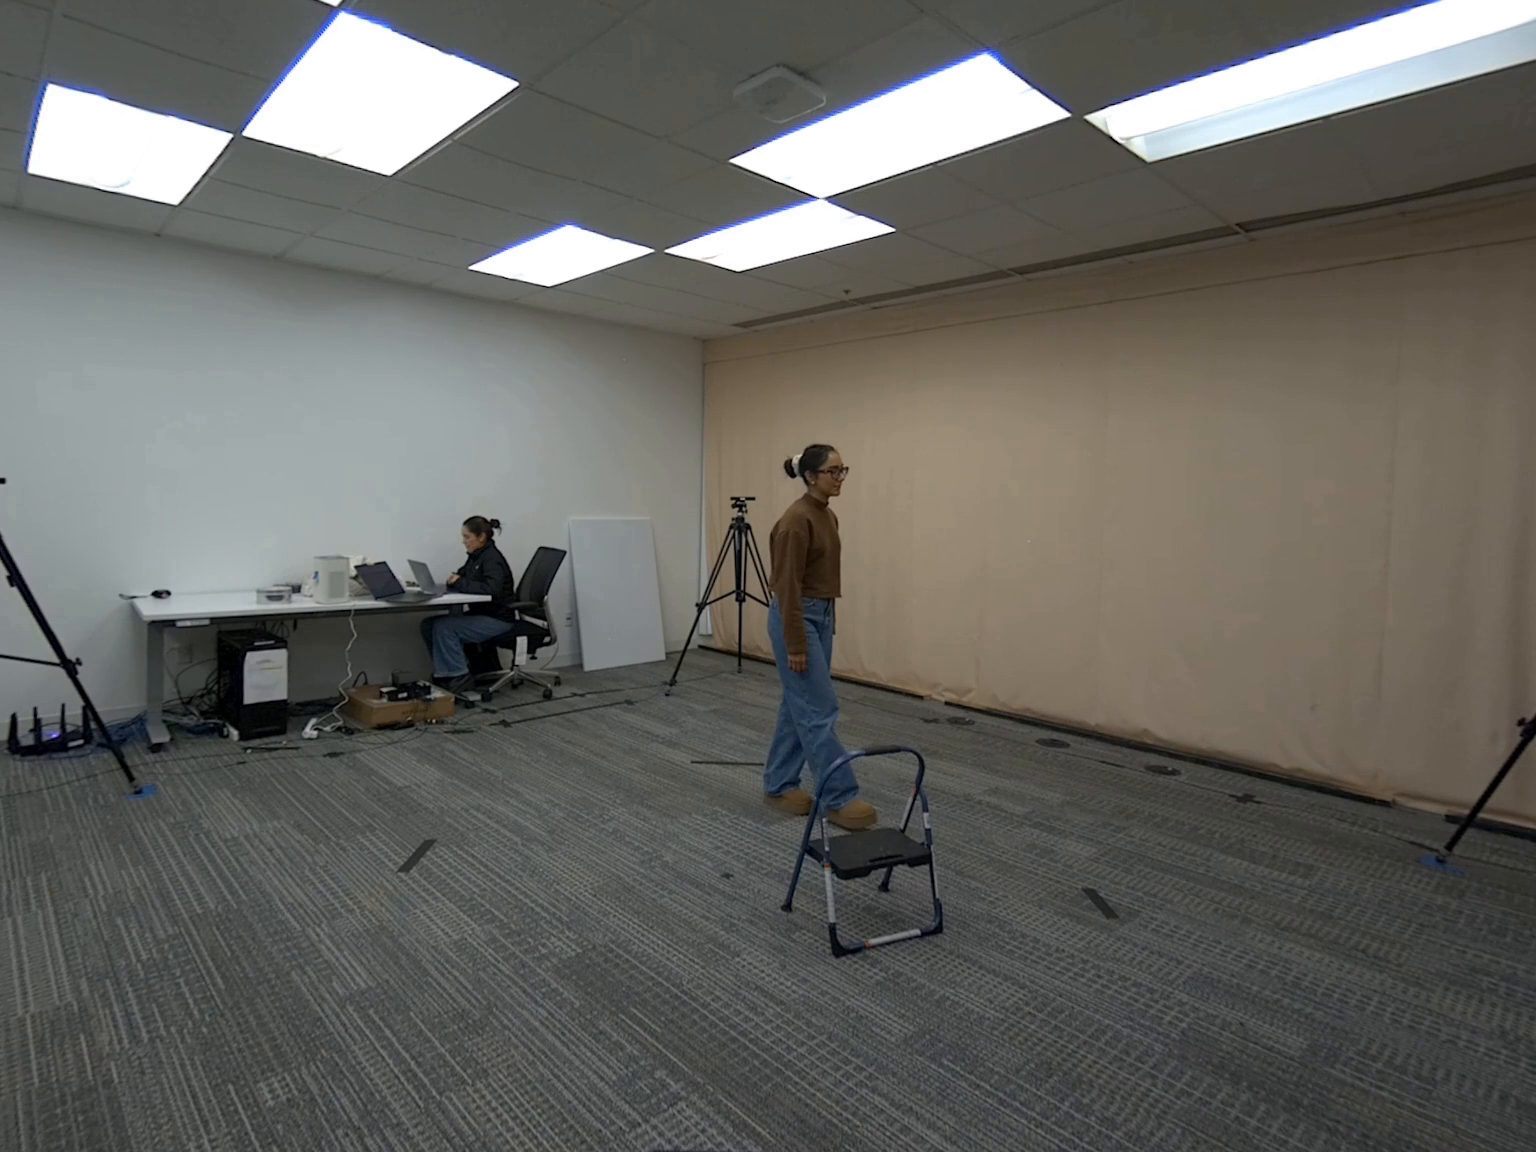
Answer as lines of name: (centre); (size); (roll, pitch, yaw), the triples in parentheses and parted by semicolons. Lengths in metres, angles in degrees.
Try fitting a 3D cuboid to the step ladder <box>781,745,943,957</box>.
step ladder: (0.311, 0.843, 2.779); (0.422, 0.604, 0.357); (-1, 4, -27)
